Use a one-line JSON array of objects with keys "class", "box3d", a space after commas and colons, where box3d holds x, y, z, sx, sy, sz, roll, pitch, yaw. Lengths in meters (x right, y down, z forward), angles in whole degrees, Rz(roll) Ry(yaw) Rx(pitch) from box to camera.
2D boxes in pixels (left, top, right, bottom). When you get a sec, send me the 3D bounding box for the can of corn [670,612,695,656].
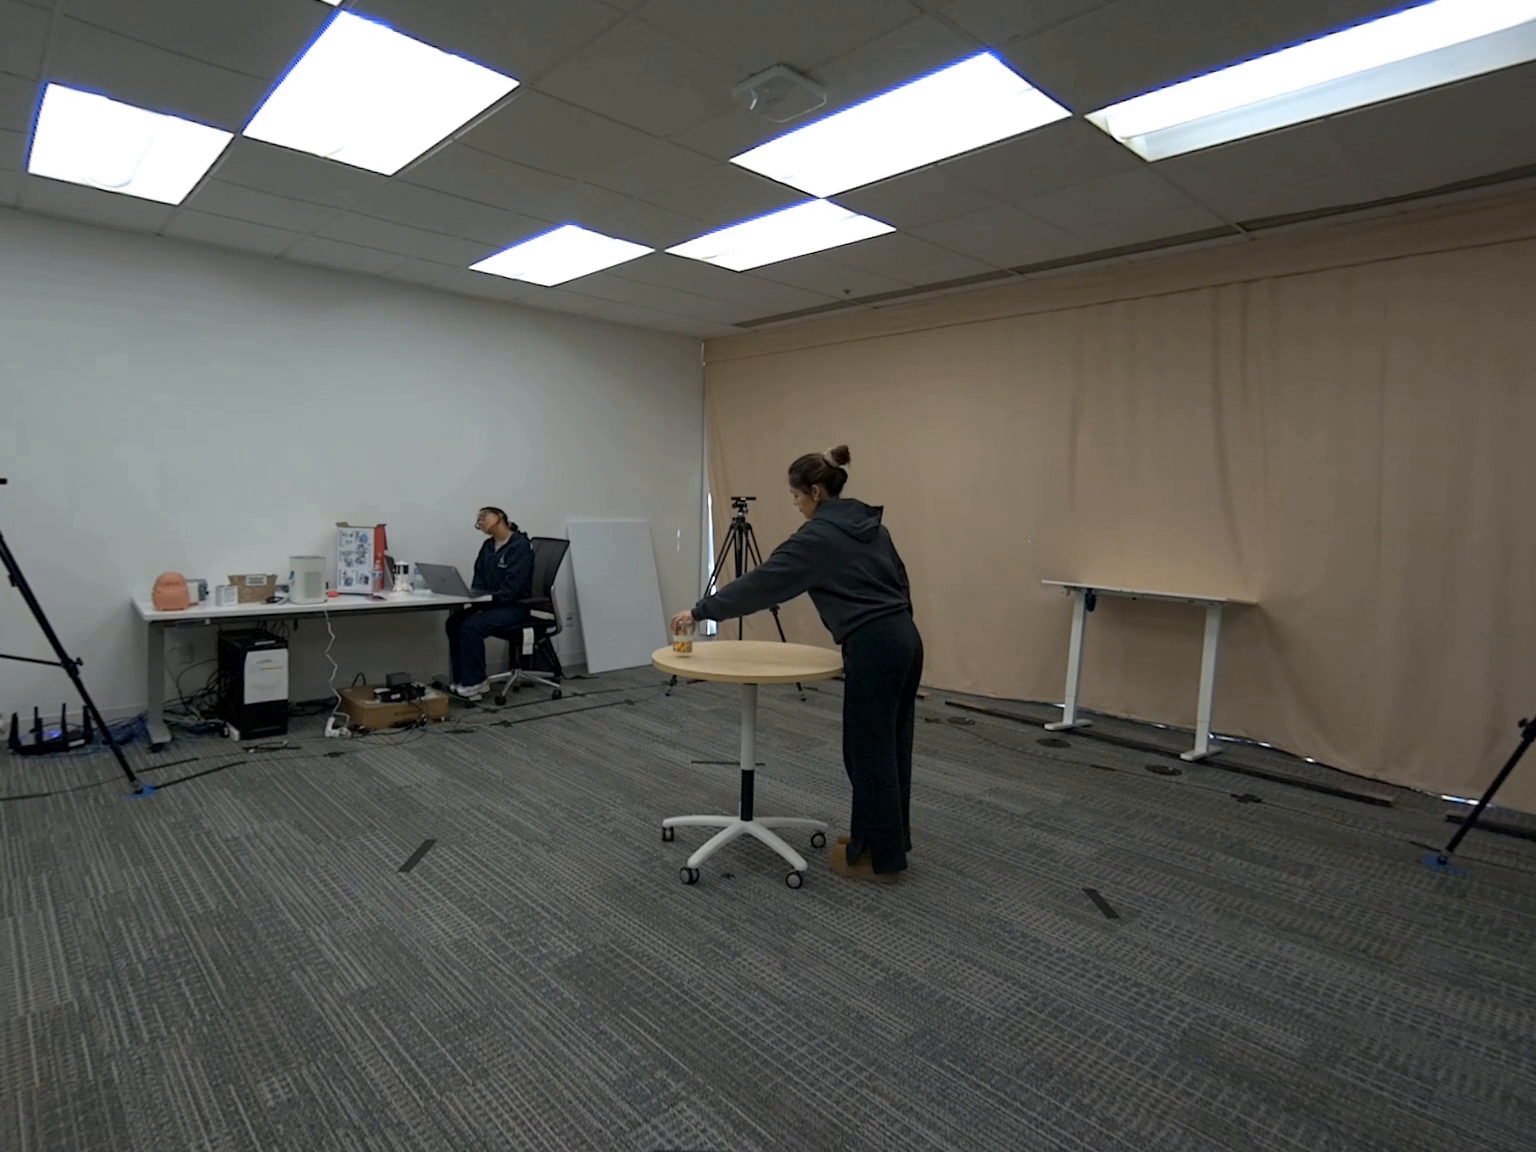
[{"class": "can of corn", "box3d": [-0.328, 0.234, 3.214, 0.074, 0.110, 0.074, 2, 7, -2]}]
